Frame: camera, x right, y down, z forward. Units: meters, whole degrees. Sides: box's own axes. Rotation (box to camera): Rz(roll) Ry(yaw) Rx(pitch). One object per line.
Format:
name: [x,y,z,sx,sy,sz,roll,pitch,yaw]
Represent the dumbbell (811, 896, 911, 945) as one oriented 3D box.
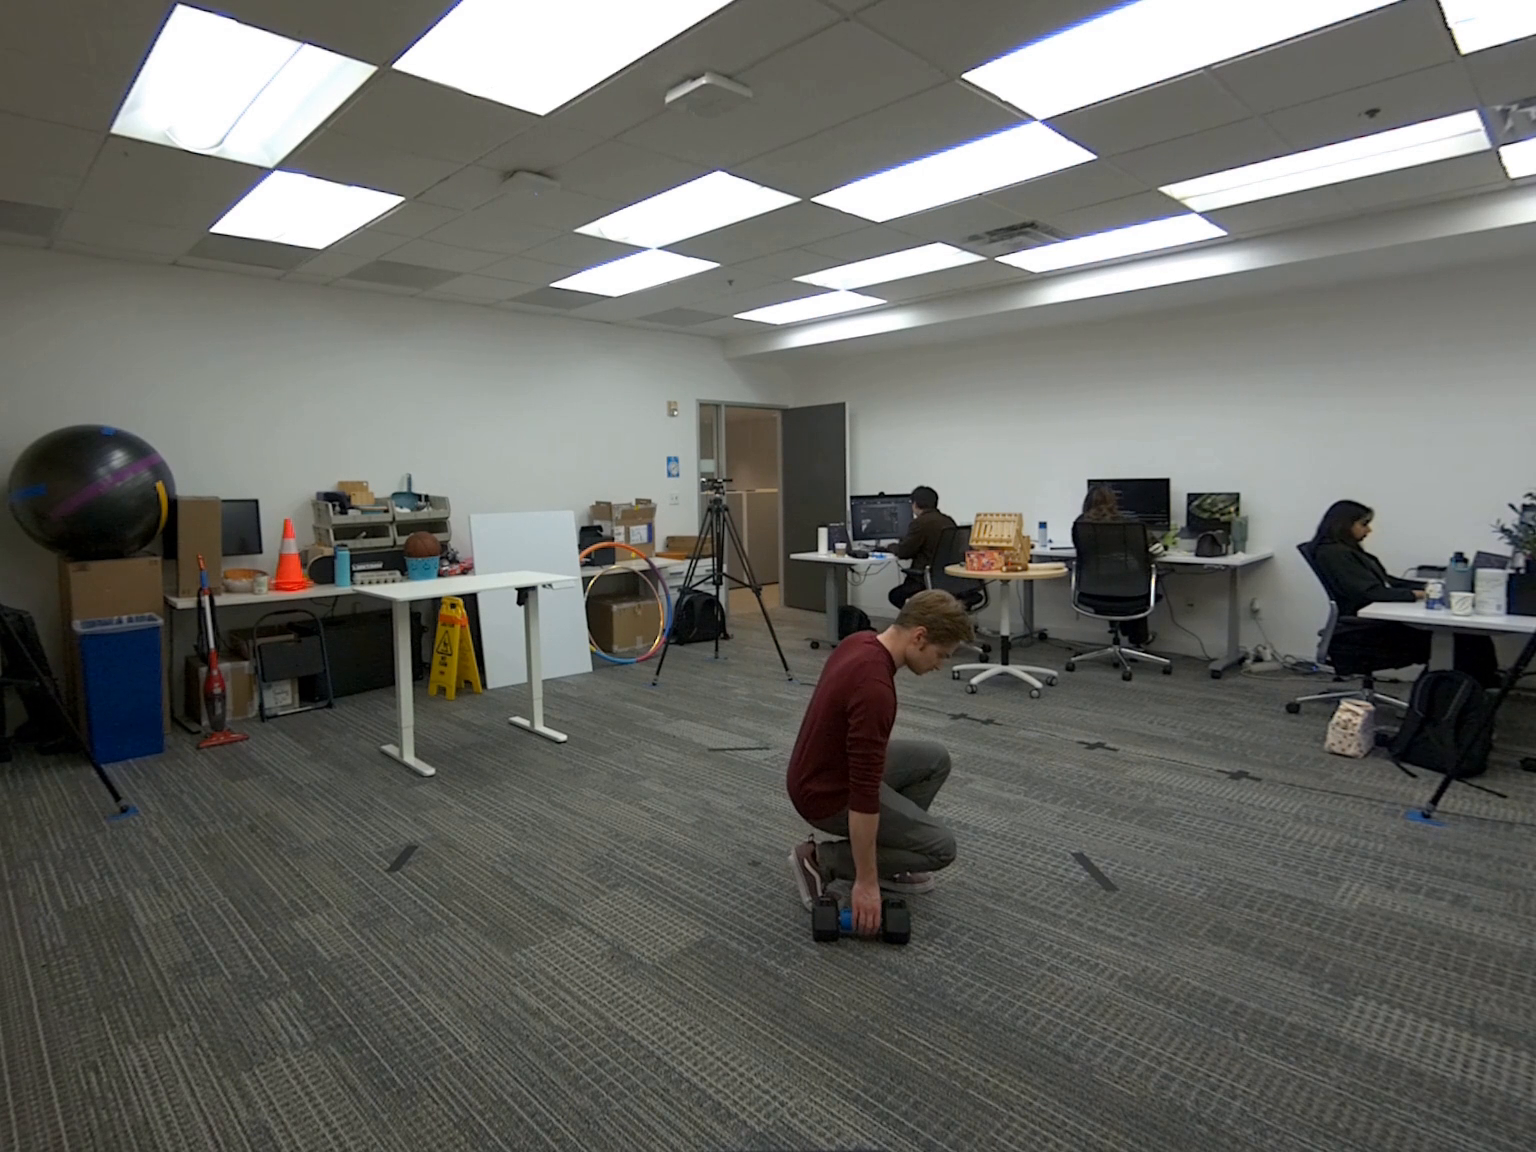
dumbbell: [0.281,1.044,2.595,0.295,0.125,0.106,-1,-25,6]
